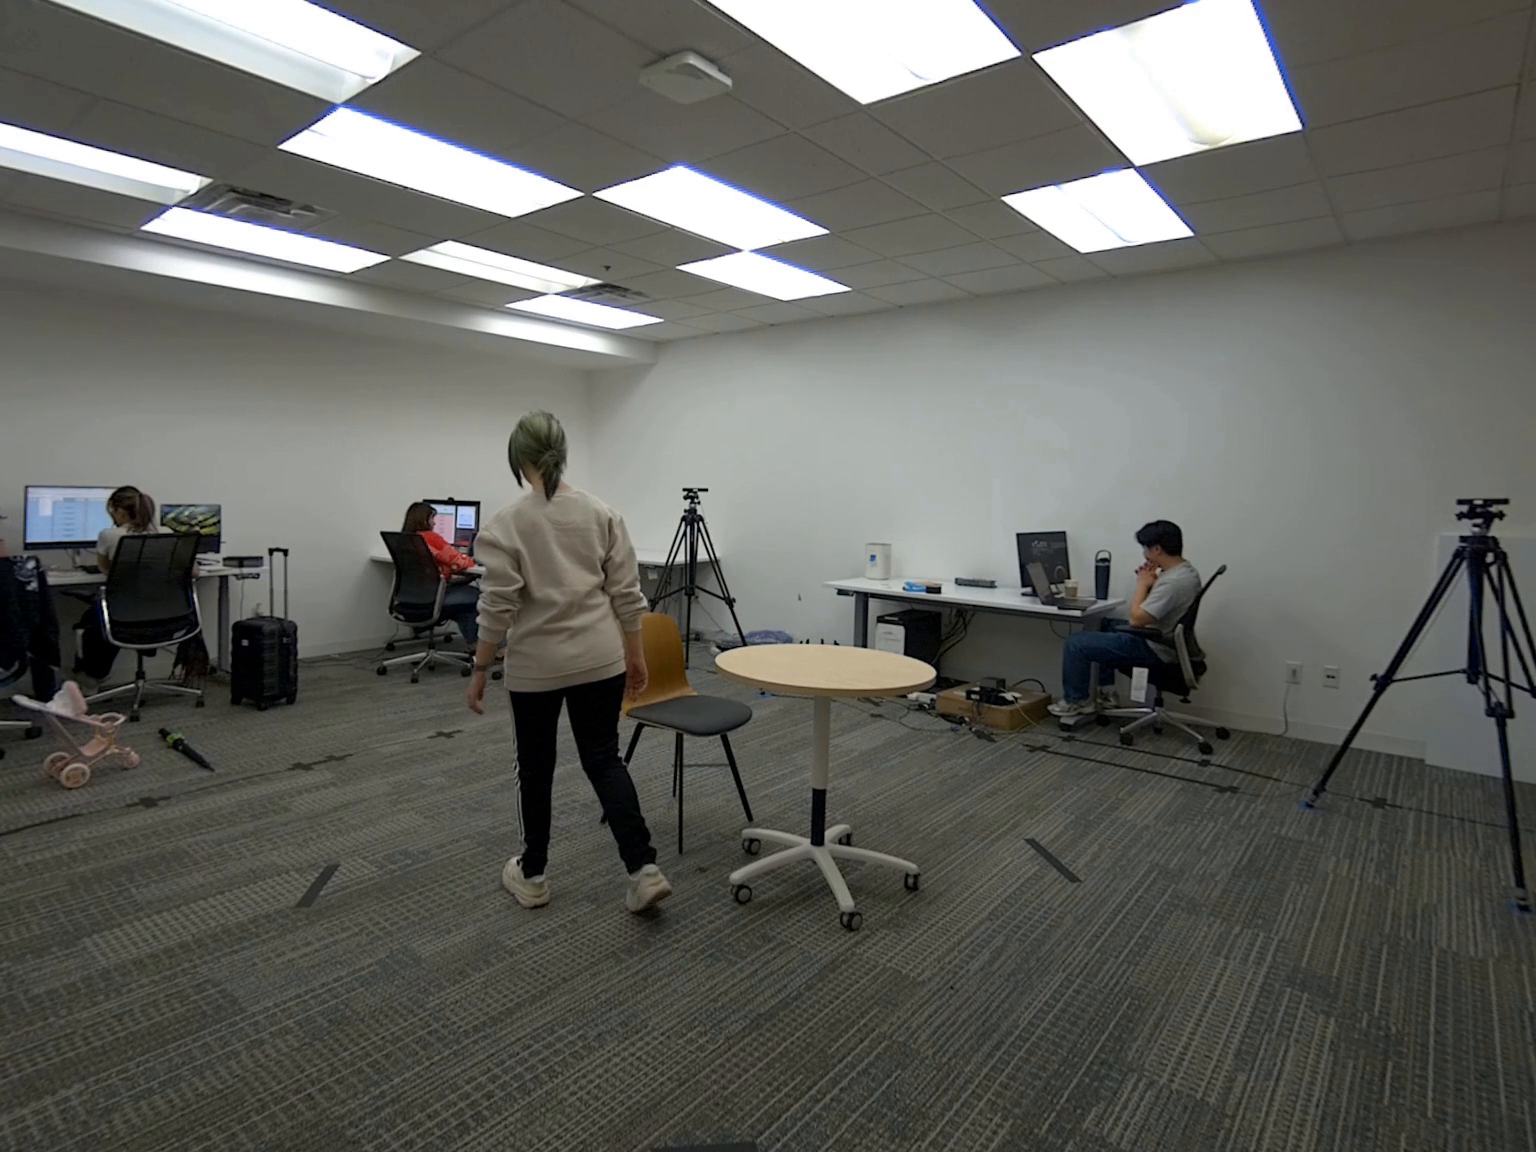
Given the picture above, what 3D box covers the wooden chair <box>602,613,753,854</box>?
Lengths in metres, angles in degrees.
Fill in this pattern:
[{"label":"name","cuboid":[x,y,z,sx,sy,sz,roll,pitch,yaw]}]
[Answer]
[{"label":"wooden chair","cuboid":[-0.368,0.599,3.514,0.539,0.878,0.464,-2,0,39]}]
